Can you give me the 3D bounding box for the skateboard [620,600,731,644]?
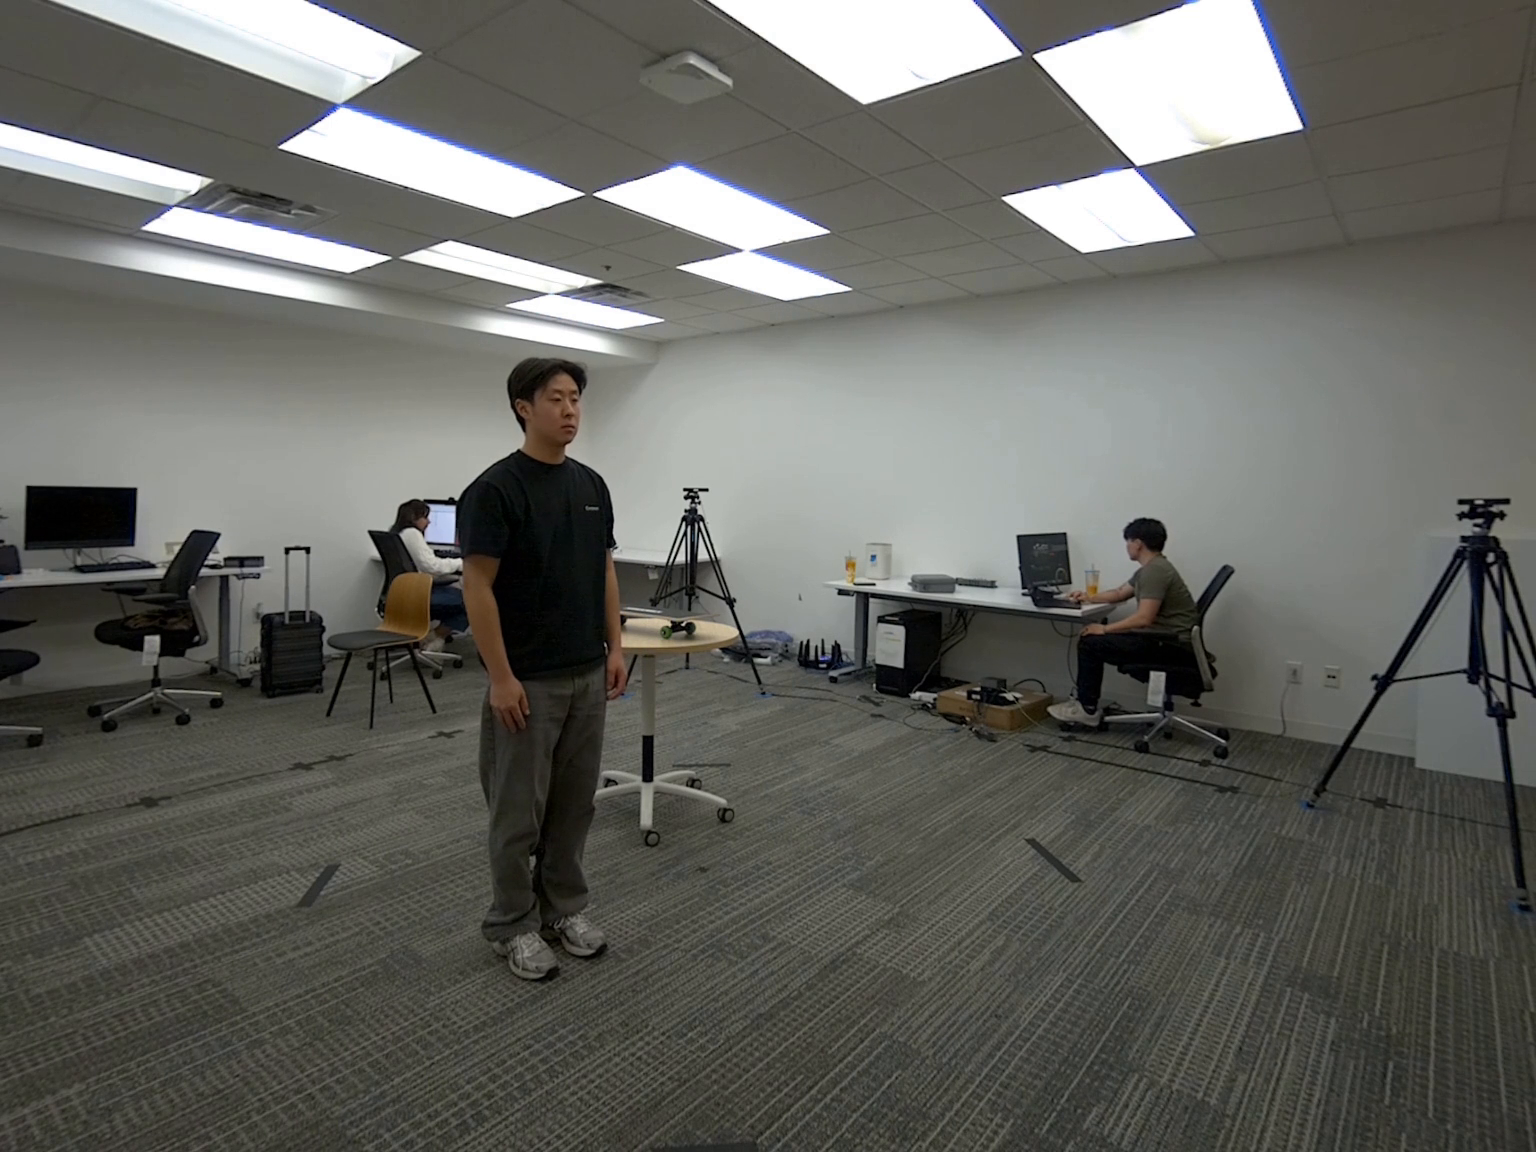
[{"bbox_3d":[-0.537,0.182,3.613,0.811,0.110,0.188,4,4,36],"label":"skateboard"}]
